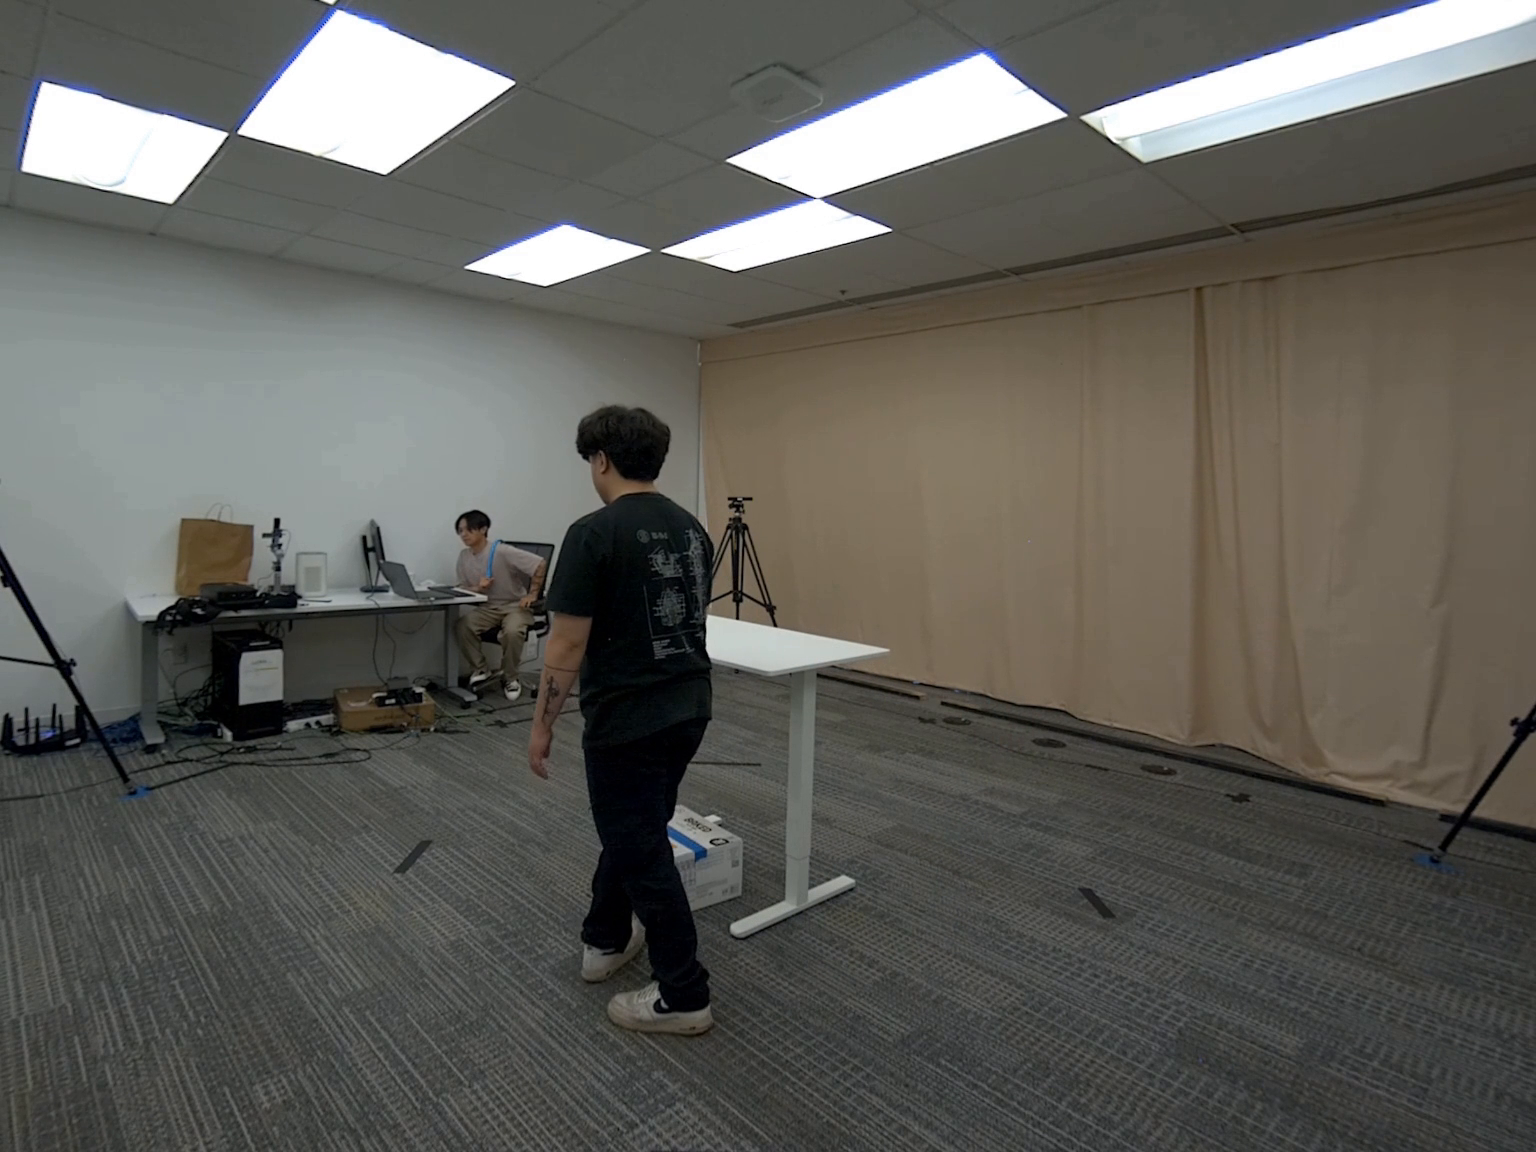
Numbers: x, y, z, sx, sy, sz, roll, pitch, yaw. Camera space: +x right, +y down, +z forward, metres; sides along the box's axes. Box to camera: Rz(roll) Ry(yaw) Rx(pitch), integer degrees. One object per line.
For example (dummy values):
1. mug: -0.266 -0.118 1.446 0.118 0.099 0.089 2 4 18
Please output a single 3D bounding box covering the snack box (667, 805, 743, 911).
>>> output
1. snack box: -0.354 1.013 3.002 0.333 0.205 0.415 -2 6 -38
